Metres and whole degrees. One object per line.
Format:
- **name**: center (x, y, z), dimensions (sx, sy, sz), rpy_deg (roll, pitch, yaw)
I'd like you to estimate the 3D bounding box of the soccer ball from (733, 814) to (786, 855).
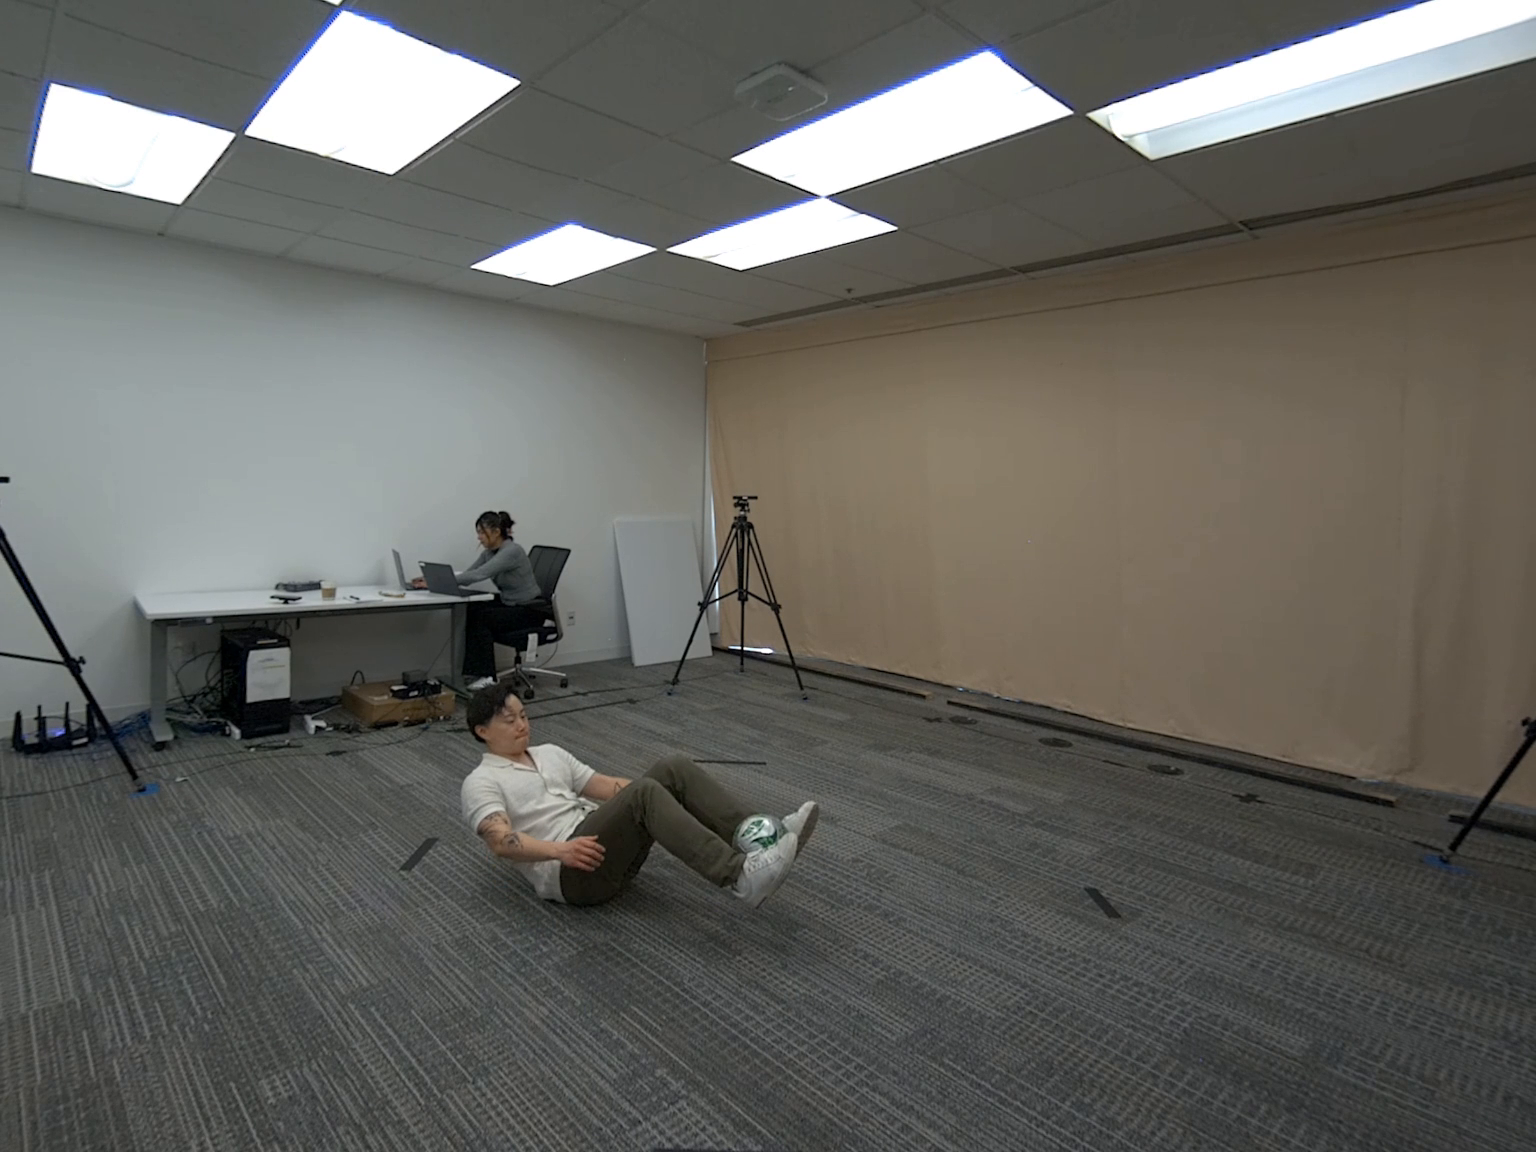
- **soccer ball**: center (-0.039, 0.858, 2.667), dimensions (0.187, 0.187, 0.188), rpy_deg (1, 4, -1)
